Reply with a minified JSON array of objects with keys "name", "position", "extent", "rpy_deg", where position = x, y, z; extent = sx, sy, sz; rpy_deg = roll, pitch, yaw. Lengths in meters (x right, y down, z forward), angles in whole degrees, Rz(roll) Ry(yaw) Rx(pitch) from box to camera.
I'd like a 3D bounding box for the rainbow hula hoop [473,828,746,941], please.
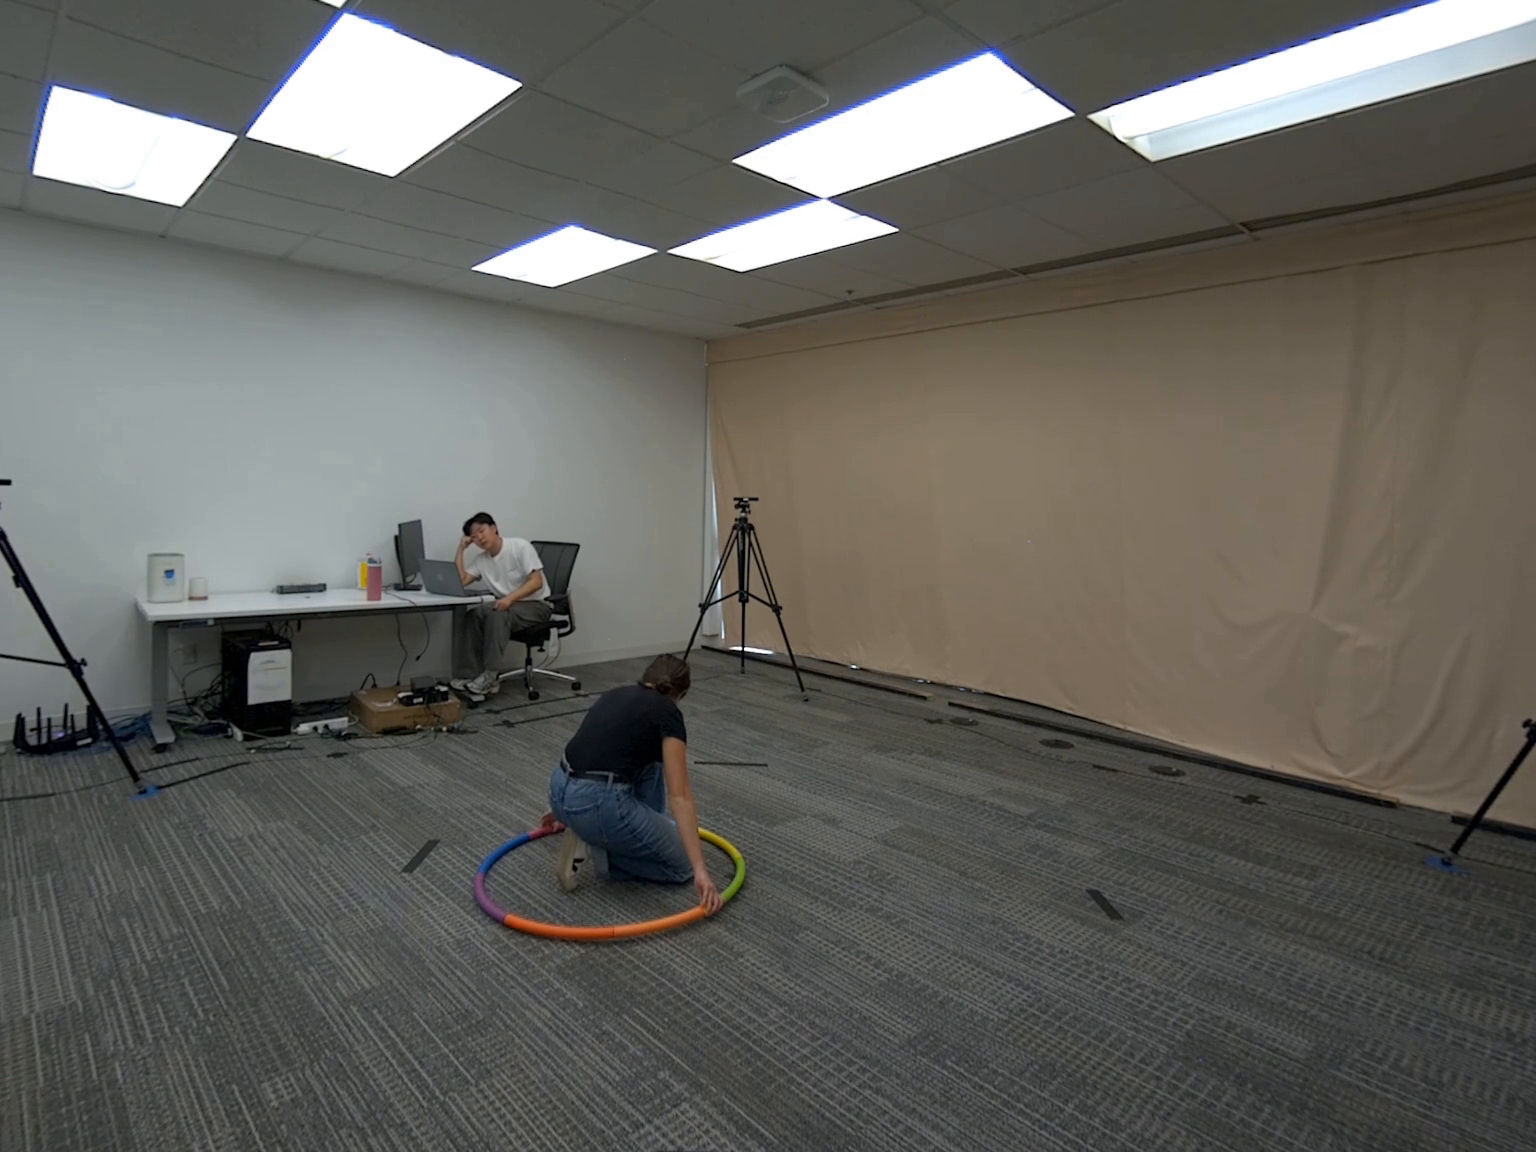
[{"name":"rainbow hula hoop","position":[-0.575,1.066,3.088],"extent":[0.978,0.035,0.981],"rpy_deg":[1,4,-1]}]
